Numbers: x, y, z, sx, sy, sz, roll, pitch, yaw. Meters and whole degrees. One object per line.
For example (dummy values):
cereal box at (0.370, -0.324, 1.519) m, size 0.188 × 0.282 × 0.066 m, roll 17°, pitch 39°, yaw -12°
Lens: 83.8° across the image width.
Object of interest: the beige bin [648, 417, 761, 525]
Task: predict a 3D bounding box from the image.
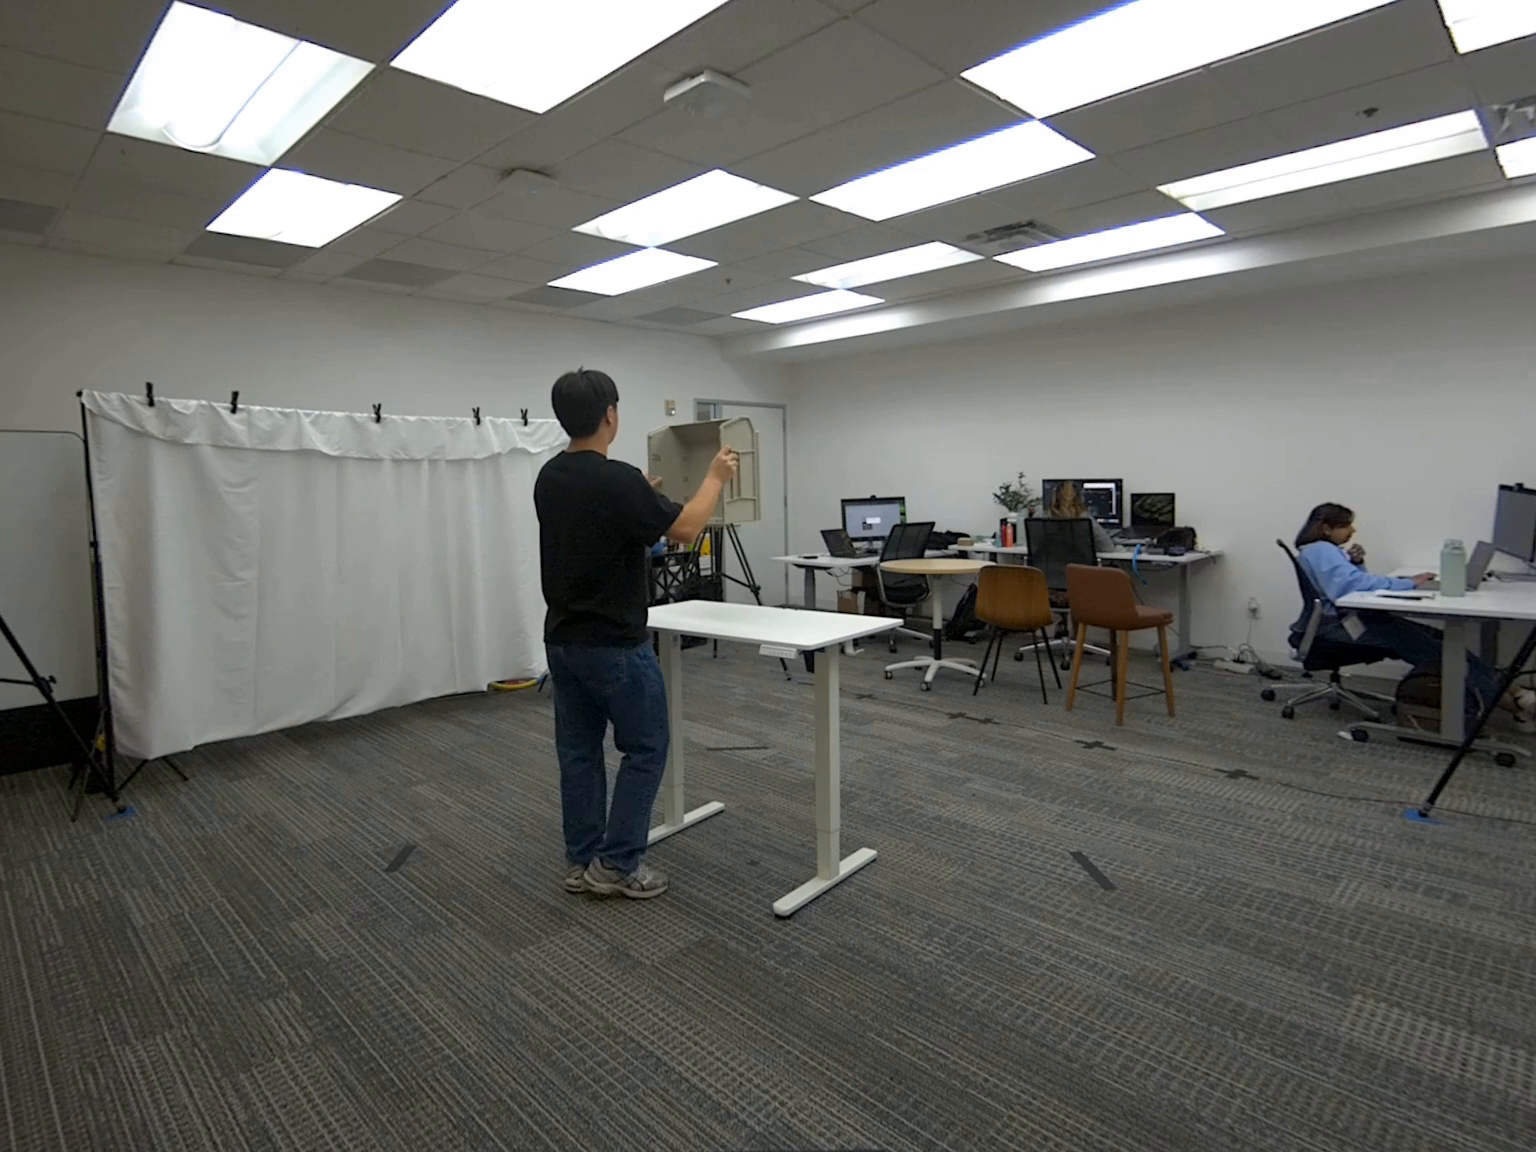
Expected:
beige bin at (-0.232, -0.371, 3.089) m, size 0.184 × 0.376 × 0.435 m, roll -4°, pitch 5°, yaw -44°
